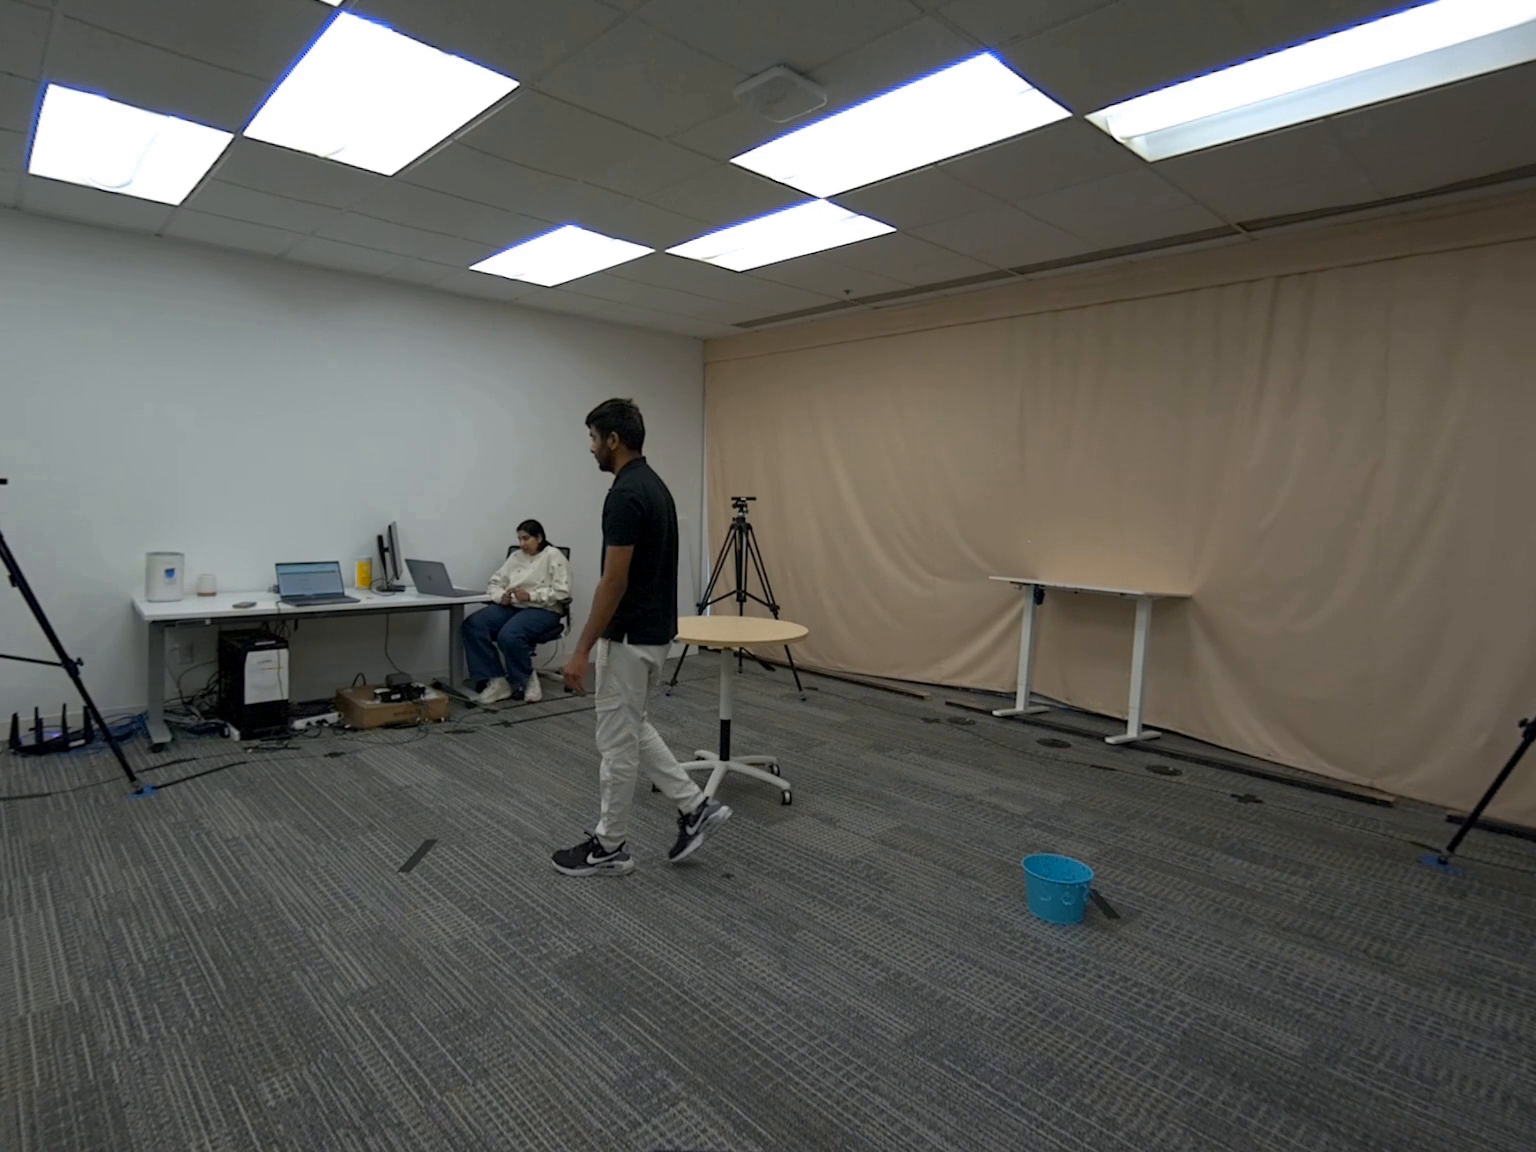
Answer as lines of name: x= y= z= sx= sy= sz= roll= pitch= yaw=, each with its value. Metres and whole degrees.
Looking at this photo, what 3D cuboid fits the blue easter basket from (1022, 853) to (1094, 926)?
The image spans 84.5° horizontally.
blue easter basket: x=0.987 y=1.075 z=2.896 sx=0.243 sy=0.155 sz=0.244 roll=1 pitch=4 yaw=-1
